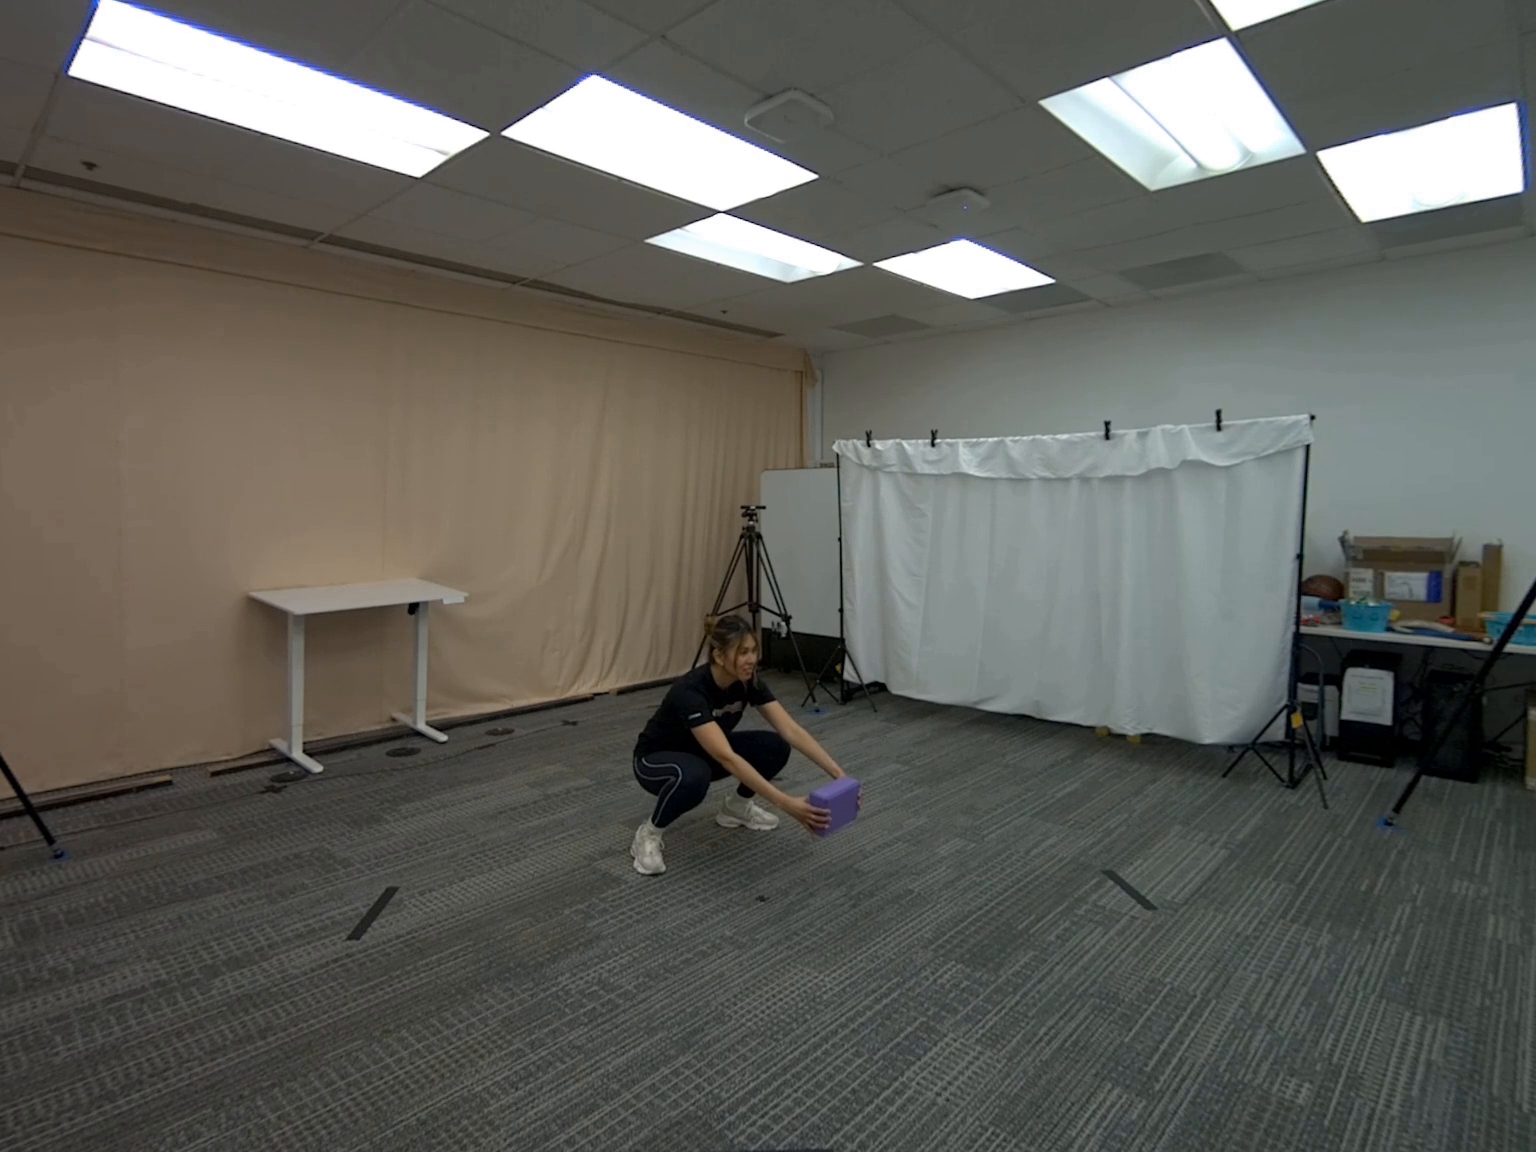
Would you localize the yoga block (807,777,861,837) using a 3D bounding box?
[{"bbox_3d":[0.243,0.812,2.984,0.079,0.148,0.223,14,12,35],"label":"yoga block"}]
